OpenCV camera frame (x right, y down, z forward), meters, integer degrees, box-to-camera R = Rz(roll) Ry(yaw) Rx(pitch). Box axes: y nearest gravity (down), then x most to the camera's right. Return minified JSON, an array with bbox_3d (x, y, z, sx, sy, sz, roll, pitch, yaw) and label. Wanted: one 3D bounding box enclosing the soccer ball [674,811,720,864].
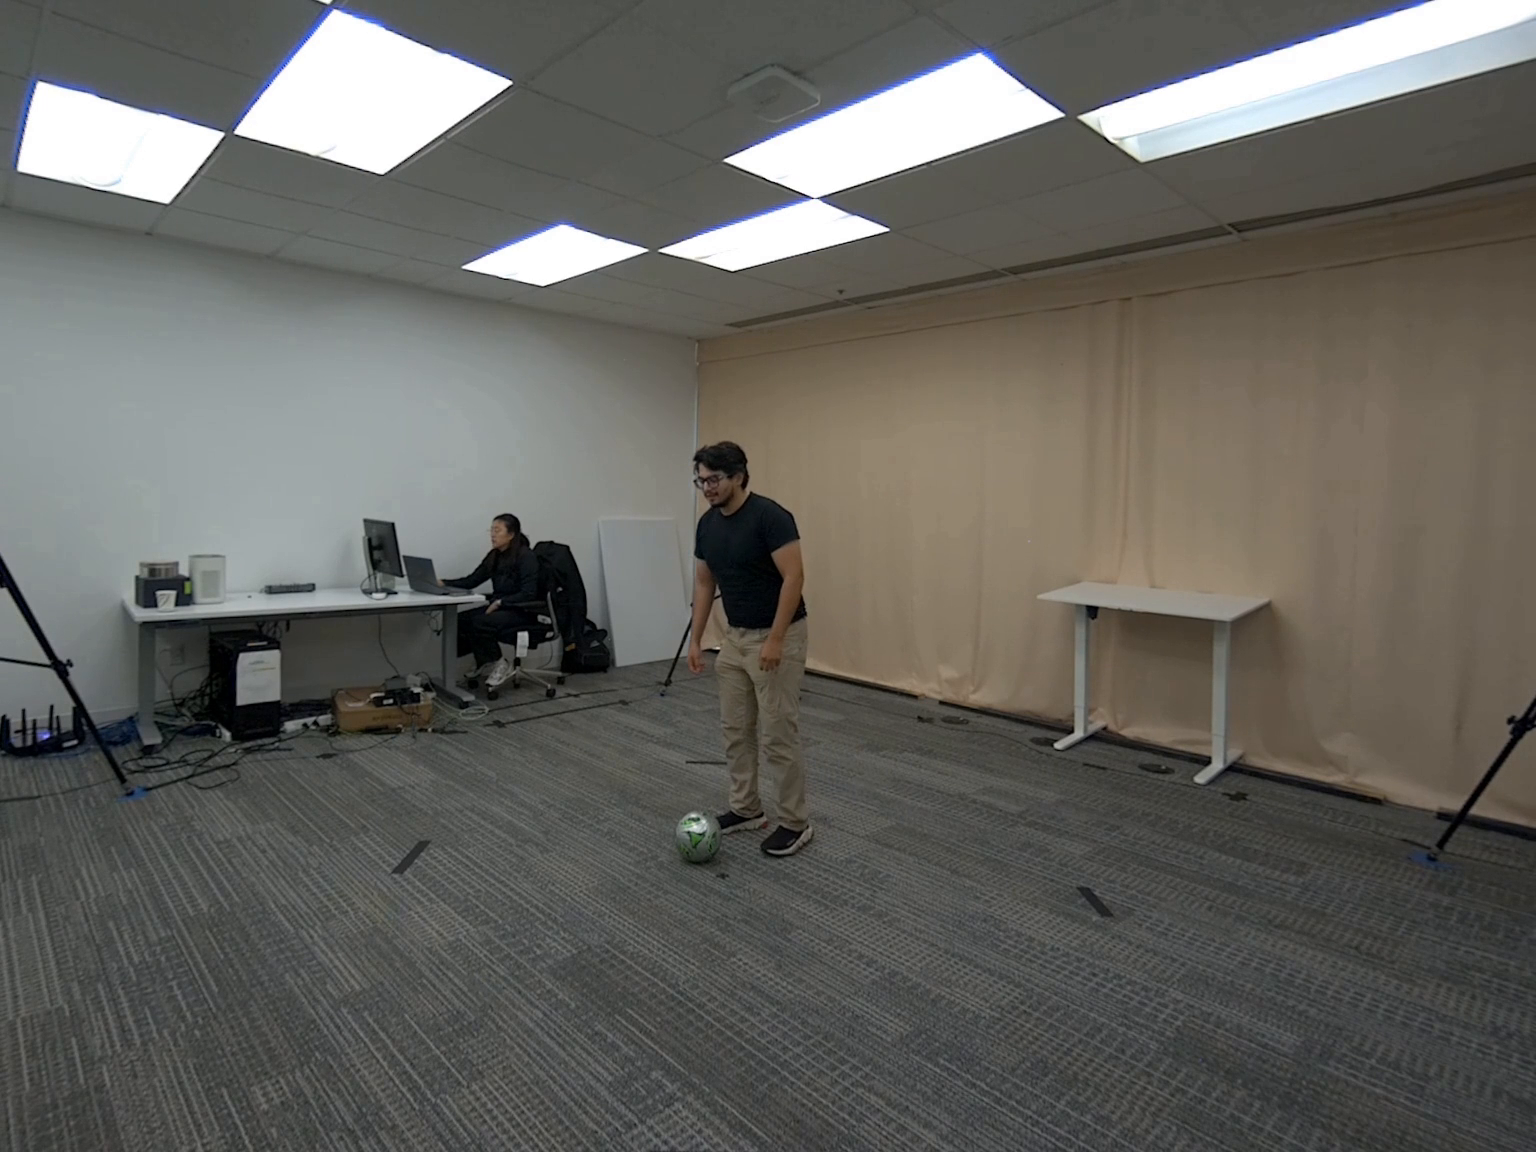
[{"bbox_3d":[-0.274,0.999,3.226,0.187,0.187,0.188,1,4,-1],"label":"soccer ball"}]
